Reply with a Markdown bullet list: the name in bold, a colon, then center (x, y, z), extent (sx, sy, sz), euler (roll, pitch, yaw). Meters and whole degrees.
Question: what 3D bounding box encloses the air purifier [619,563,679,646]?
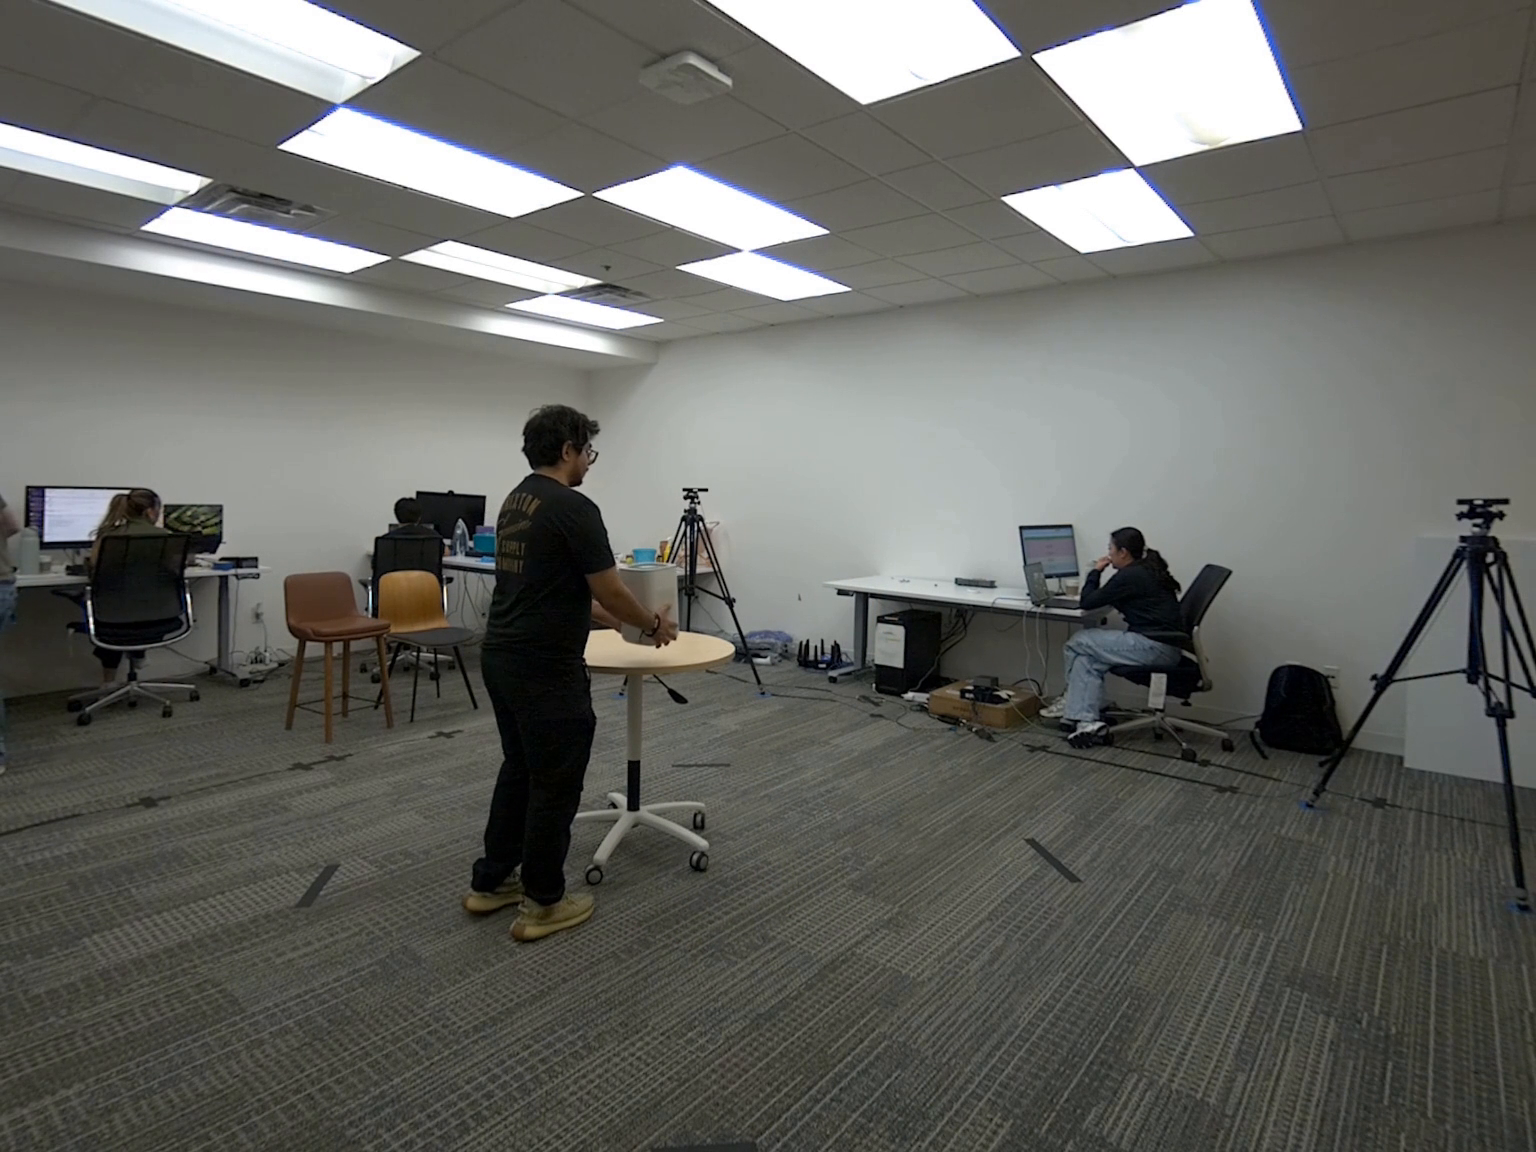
- **air purifier**: center (-0.429, 0.096, 2.944), extent (0.176, 0.263, 0.168), euler (2, 8, 30)
